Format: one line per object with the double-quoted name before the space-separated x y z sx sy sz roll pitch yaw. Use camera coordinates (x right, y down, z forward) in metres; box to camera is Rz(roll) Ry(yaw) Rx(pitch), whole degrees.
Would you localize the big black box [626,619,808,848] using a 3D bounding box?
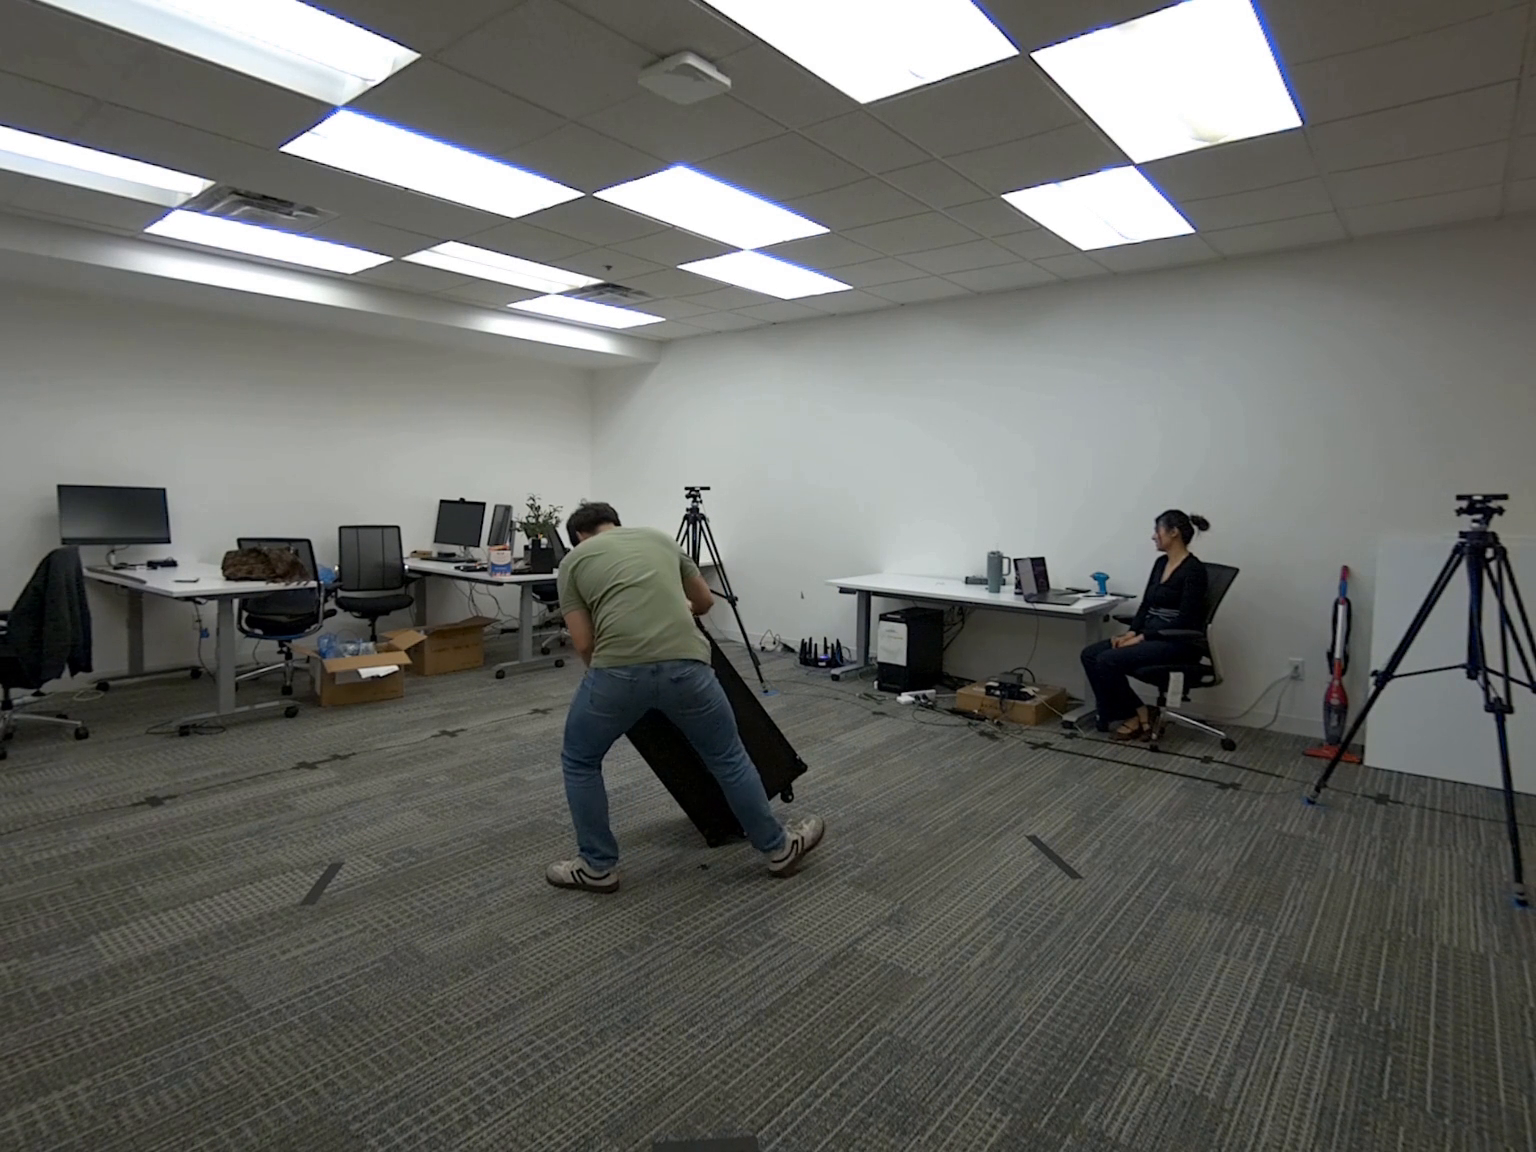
"big black box" -0.273 0.605 3.414 0.520 0.847 0.404 -37 12 -9
